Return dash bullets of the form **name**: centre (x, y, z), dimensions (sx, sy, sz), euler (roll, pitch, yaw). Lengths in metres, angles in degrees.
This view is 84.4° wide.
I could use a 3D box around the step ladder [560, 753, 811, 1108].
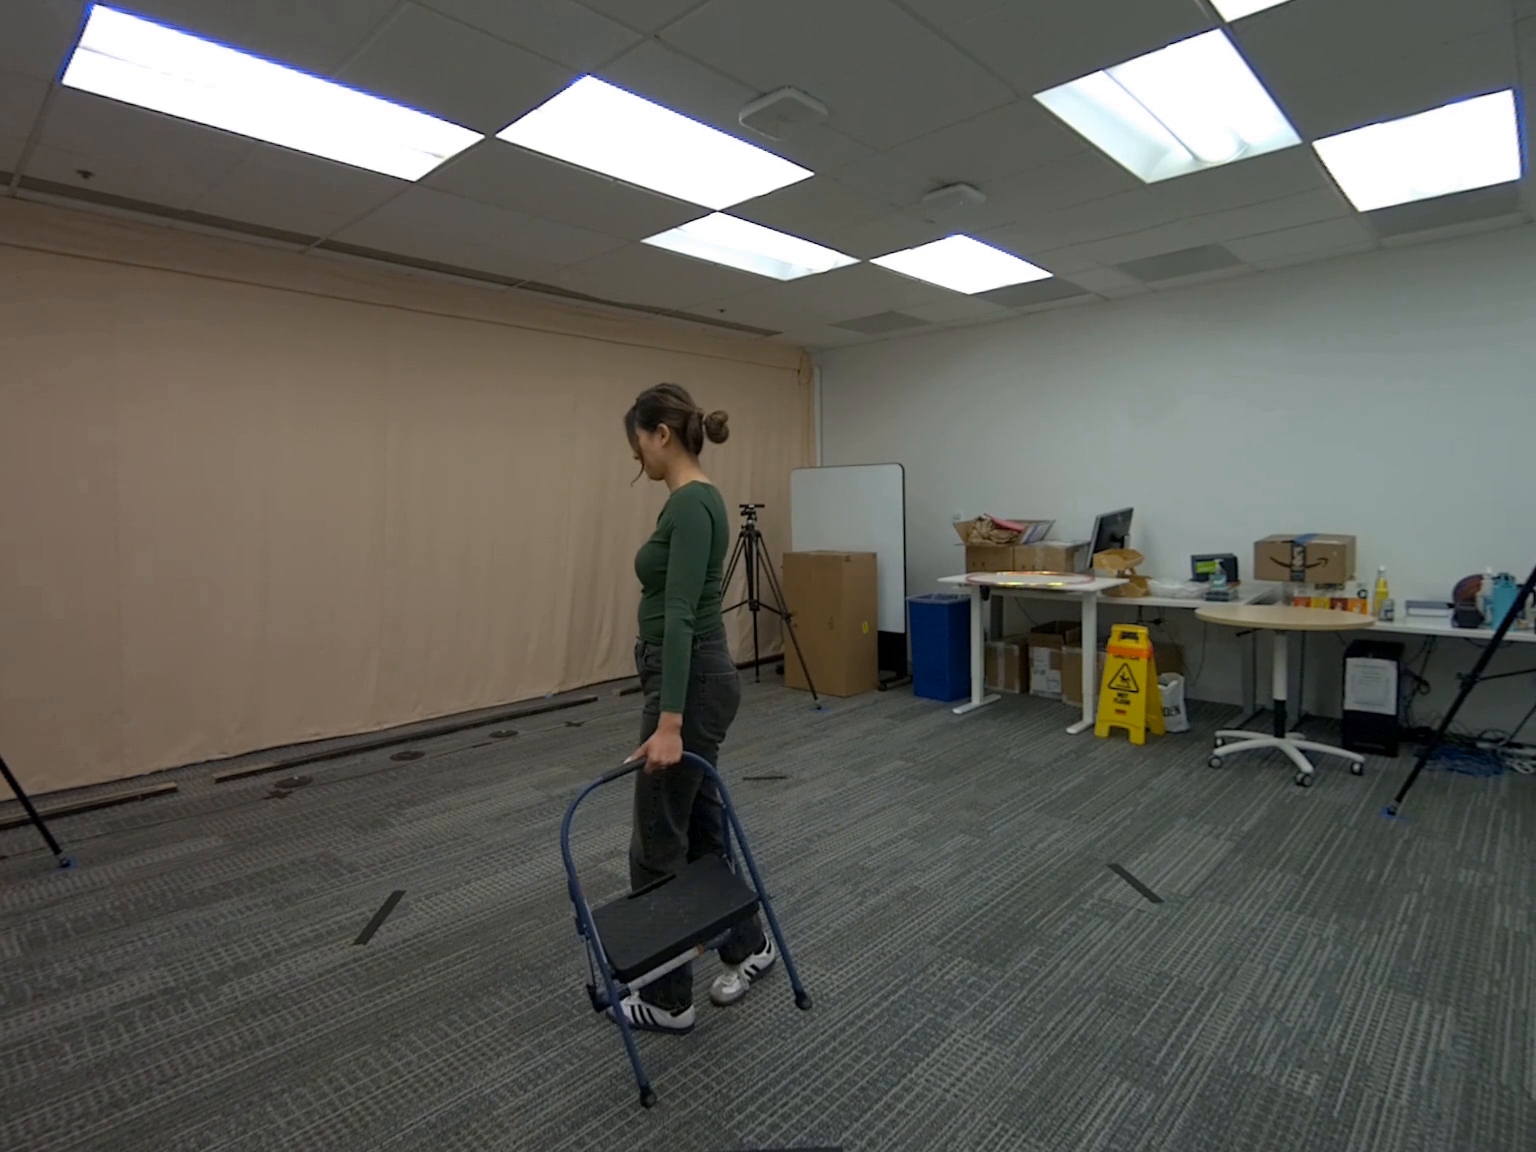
- **step ladder**: centre (-0.224, 0.733, 1.906), dimensions (0.422, 0.600, 0.360), euler (-18, 14, -27)
